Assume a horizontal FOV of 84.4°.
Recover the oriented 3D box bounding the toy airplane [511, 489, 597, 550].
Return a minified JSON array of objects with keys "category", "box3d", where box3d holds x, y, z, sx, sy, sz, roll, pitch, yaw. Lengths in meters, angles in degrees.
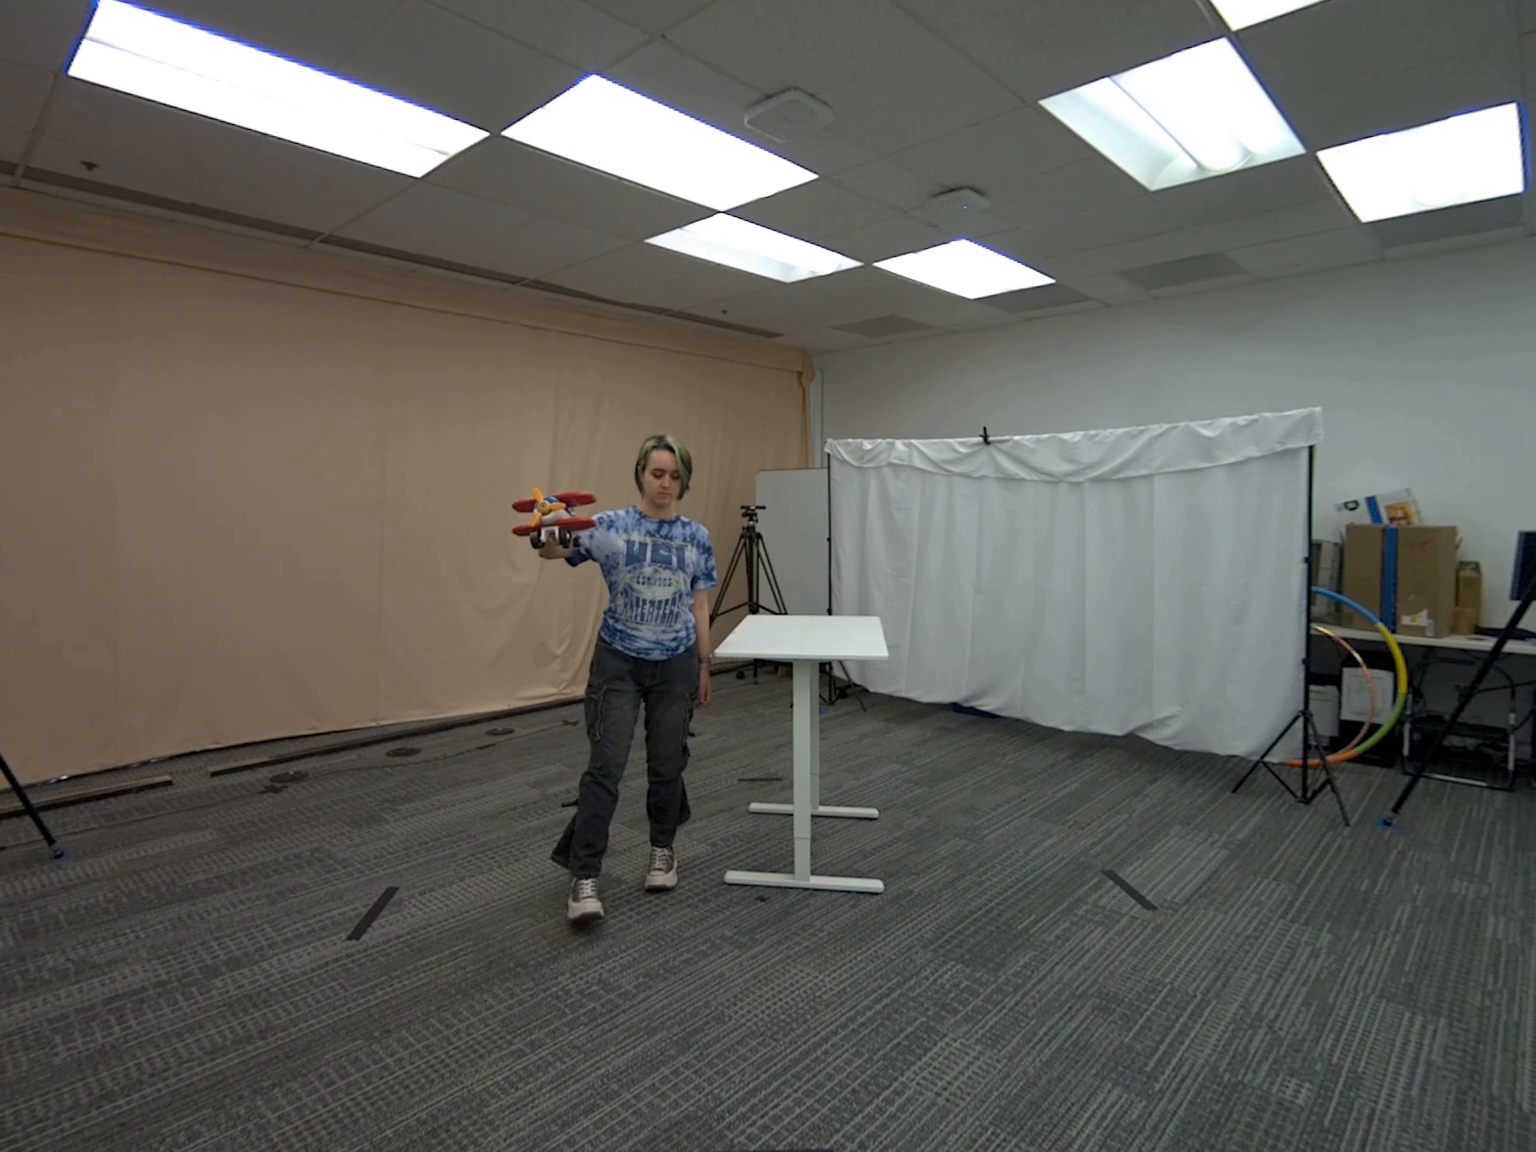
[{"category":"toy airplane","box3d":[-0.660,-0.158,2.544,0.246,0.156,0.264,-6,-1,-22]}]
